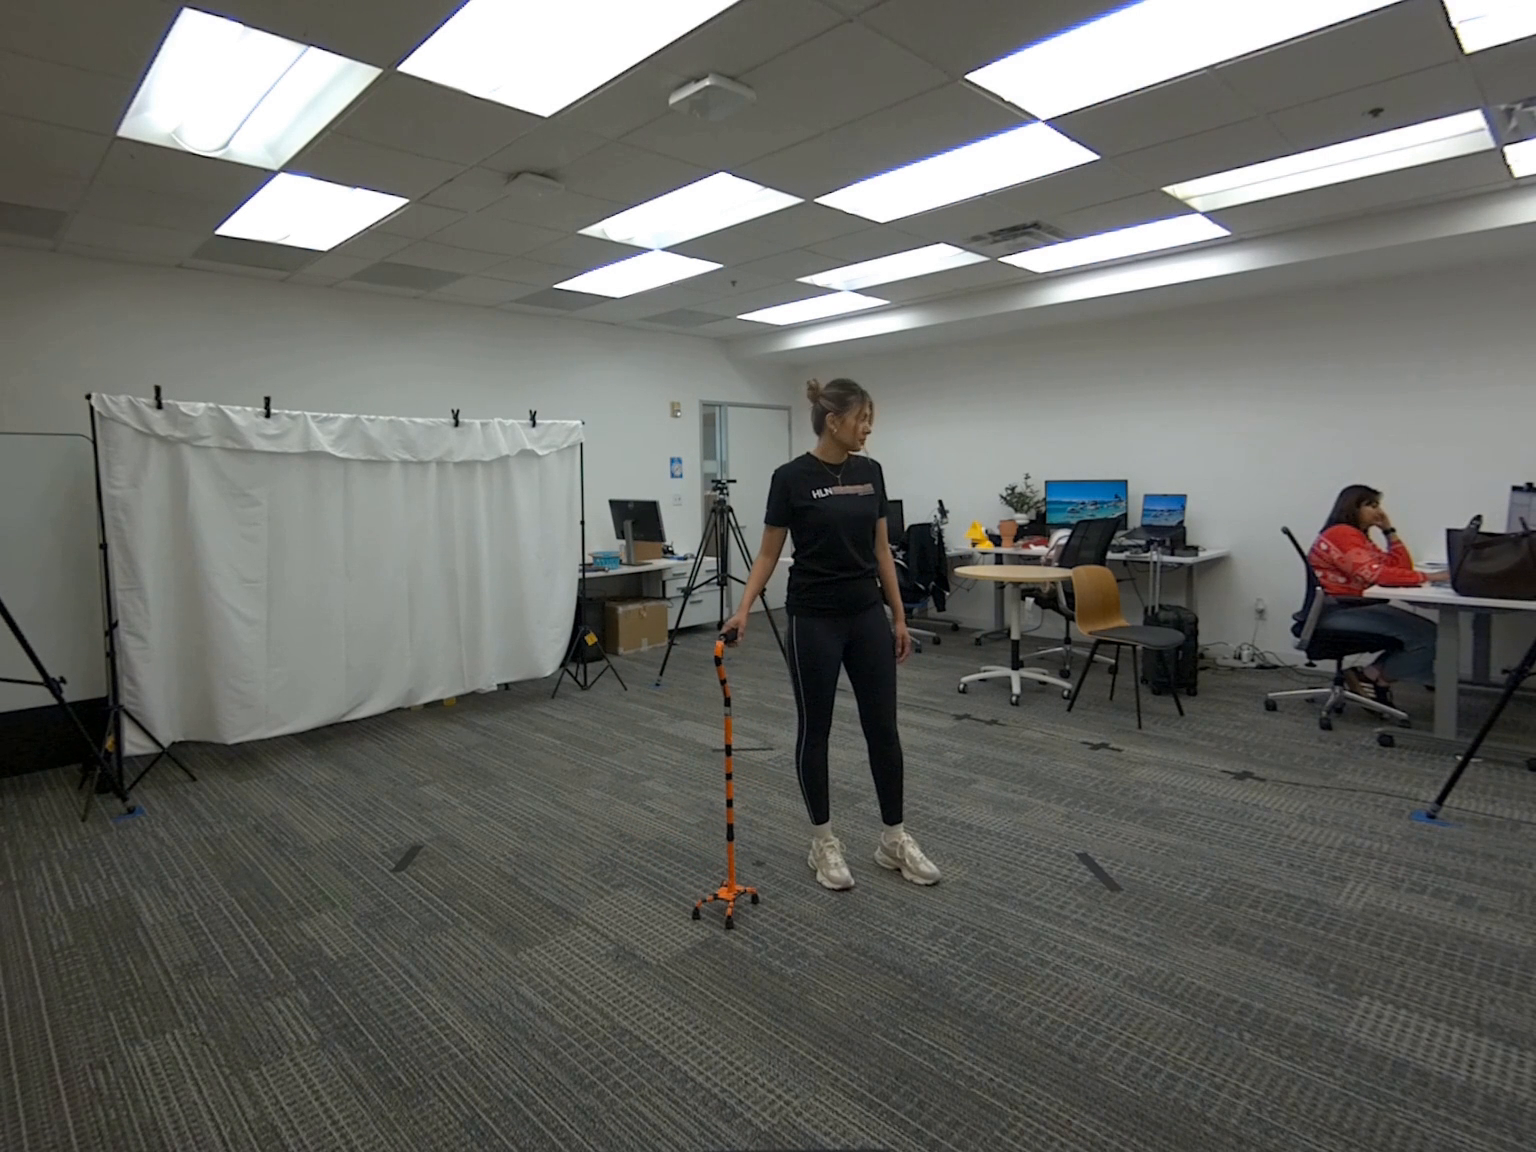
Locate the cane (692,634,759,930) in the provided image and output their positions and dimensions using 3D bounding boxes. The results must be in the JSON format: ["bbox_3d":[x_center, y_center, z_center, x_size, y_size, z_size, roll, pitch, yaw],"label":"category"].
[{"bbox_3d":[-0.140,0.636,2.745,0.155,0.904,0.203,0,4,23],"label":"cane"}]
